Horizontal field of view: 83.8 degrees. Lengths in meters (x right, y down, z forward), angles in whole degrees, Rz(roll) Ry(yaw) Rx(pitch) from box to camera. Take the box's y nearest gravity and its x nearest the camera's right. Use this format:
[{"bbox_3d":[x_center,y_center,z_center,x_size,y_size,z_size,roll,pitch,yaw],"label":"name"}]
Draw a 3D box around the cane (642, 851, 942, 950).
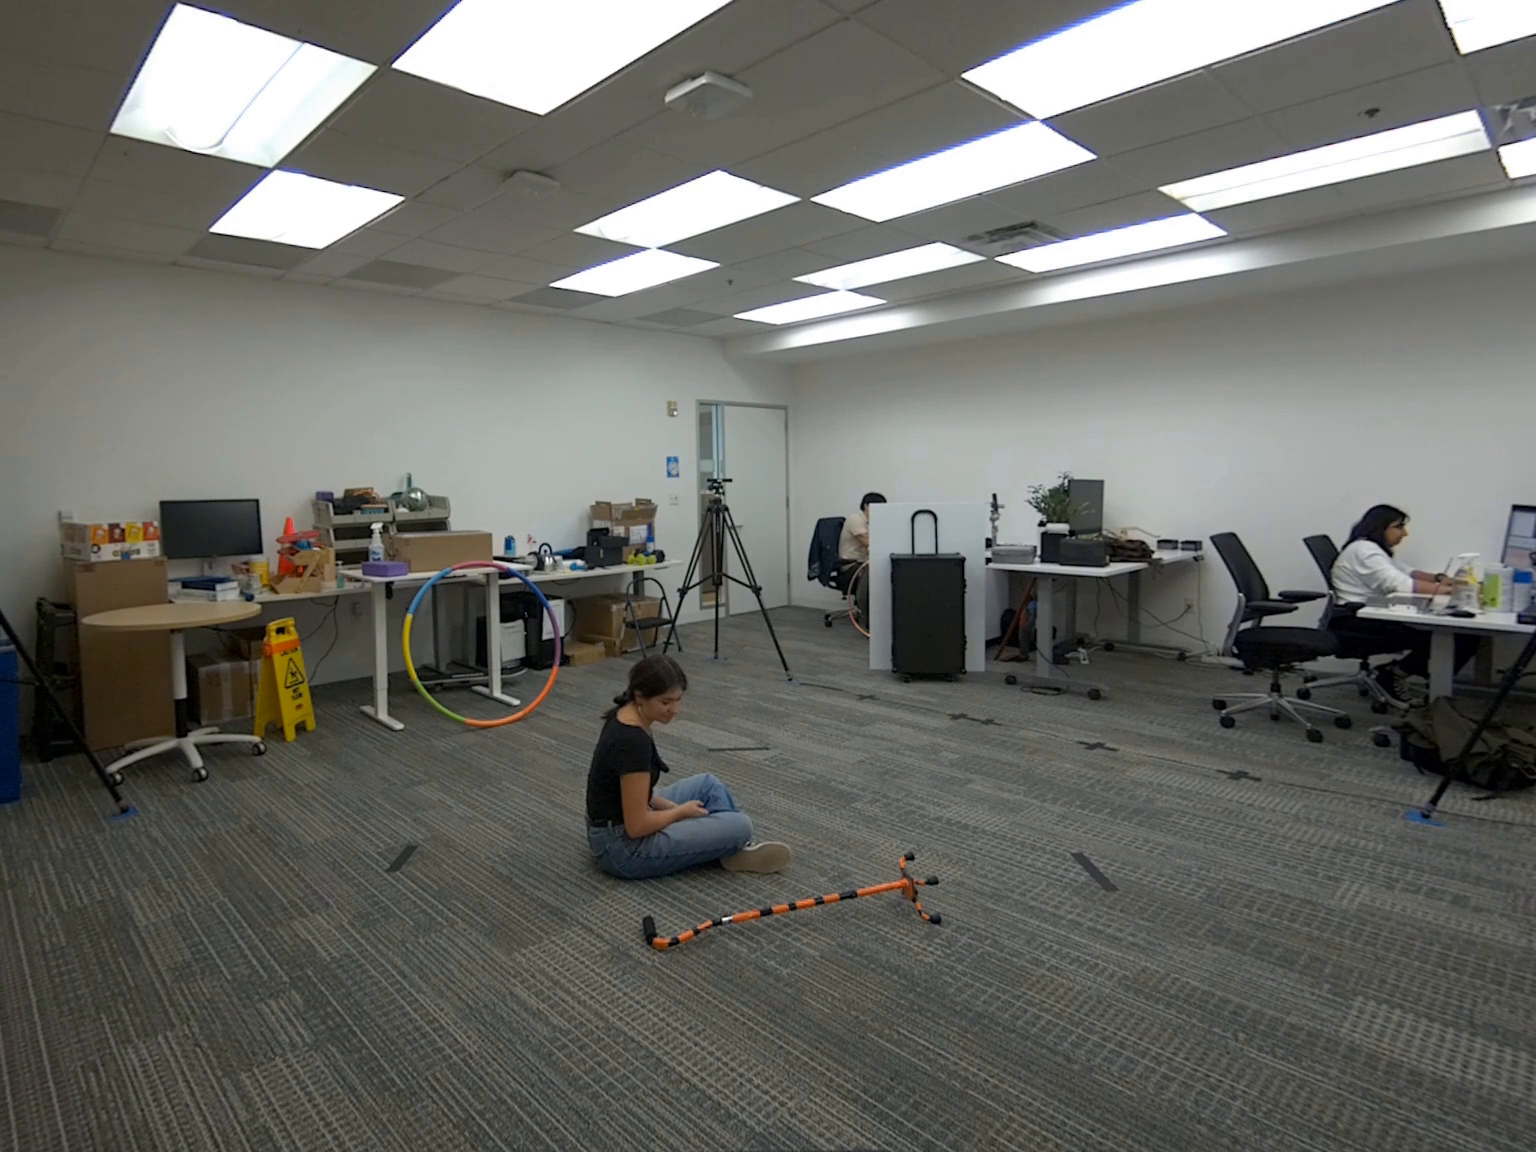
[{"bbox_3d":[0.078,1.049,2.677,0.900,0.150,0.210,-7,8,-10],"label":"cane"}]
